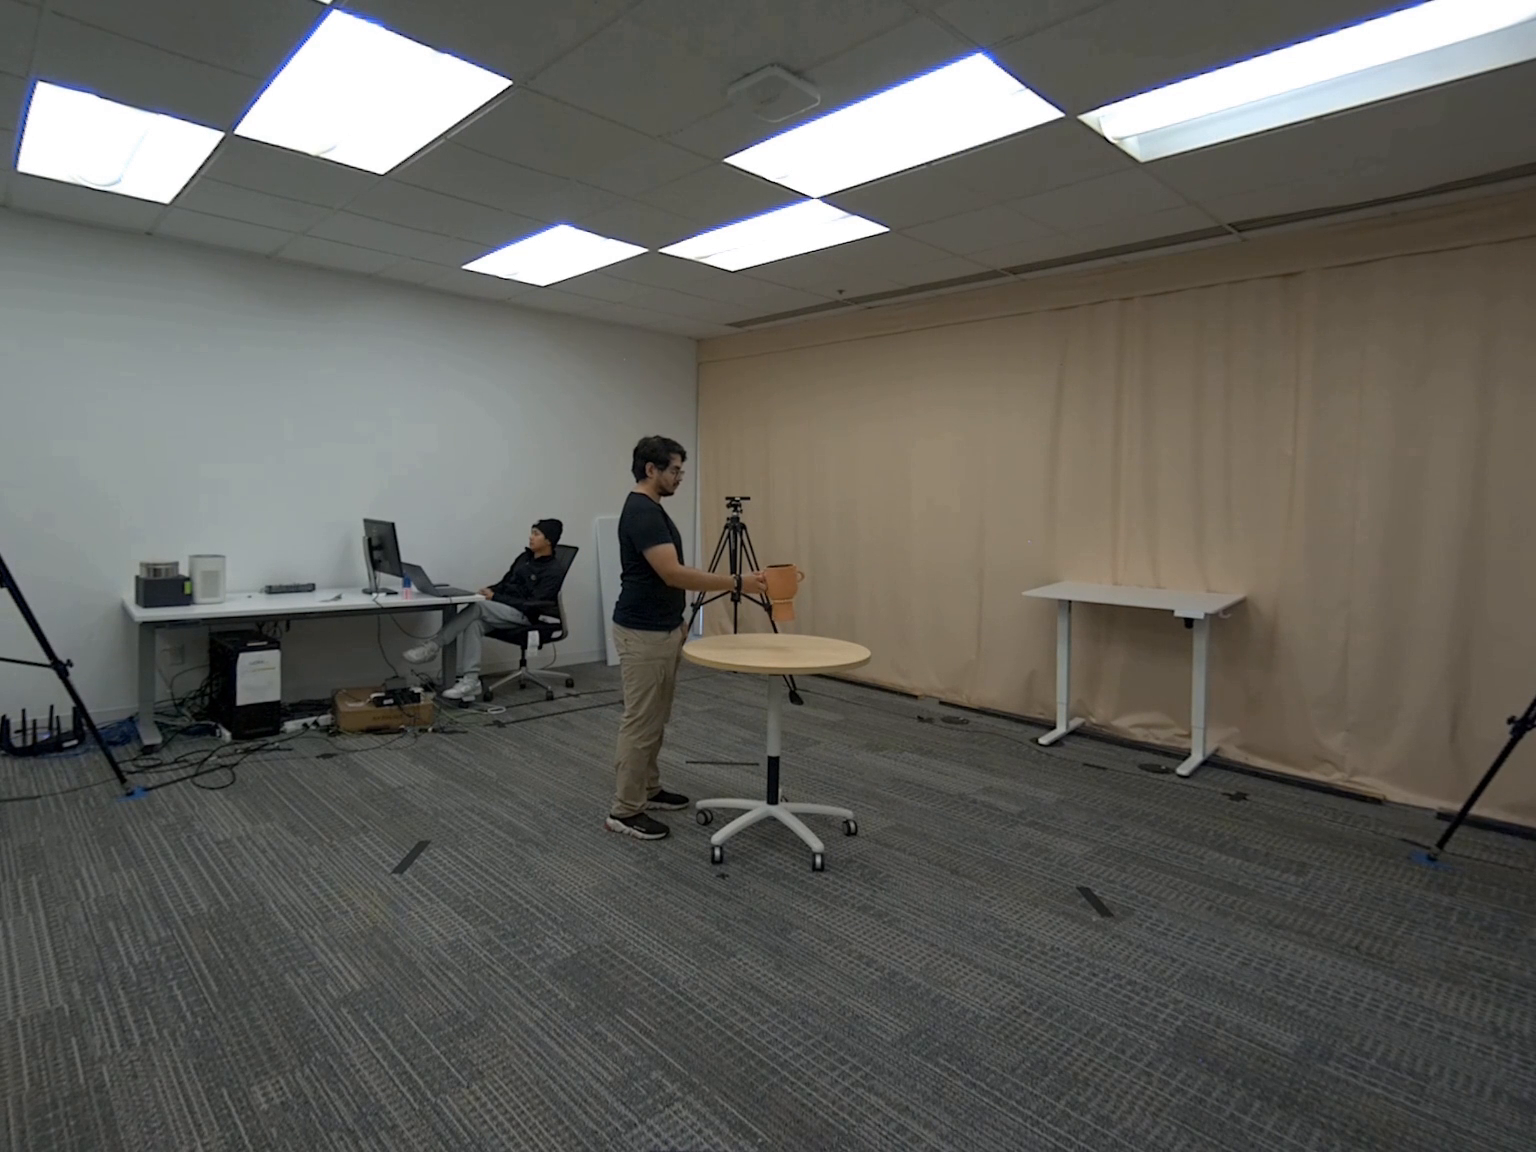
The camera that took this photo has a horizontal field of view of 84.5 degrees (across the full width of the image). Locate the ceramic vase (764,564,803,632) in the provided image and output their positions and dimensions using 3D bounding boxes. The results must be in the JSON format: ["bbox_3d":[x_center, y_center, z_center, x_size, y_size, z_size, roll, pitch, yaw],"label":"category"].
[{"bbox_3d":[0.038,0.075,3.444,0.162,0.219,0.132,1,6,33],"label":"ceramic vase"}]
